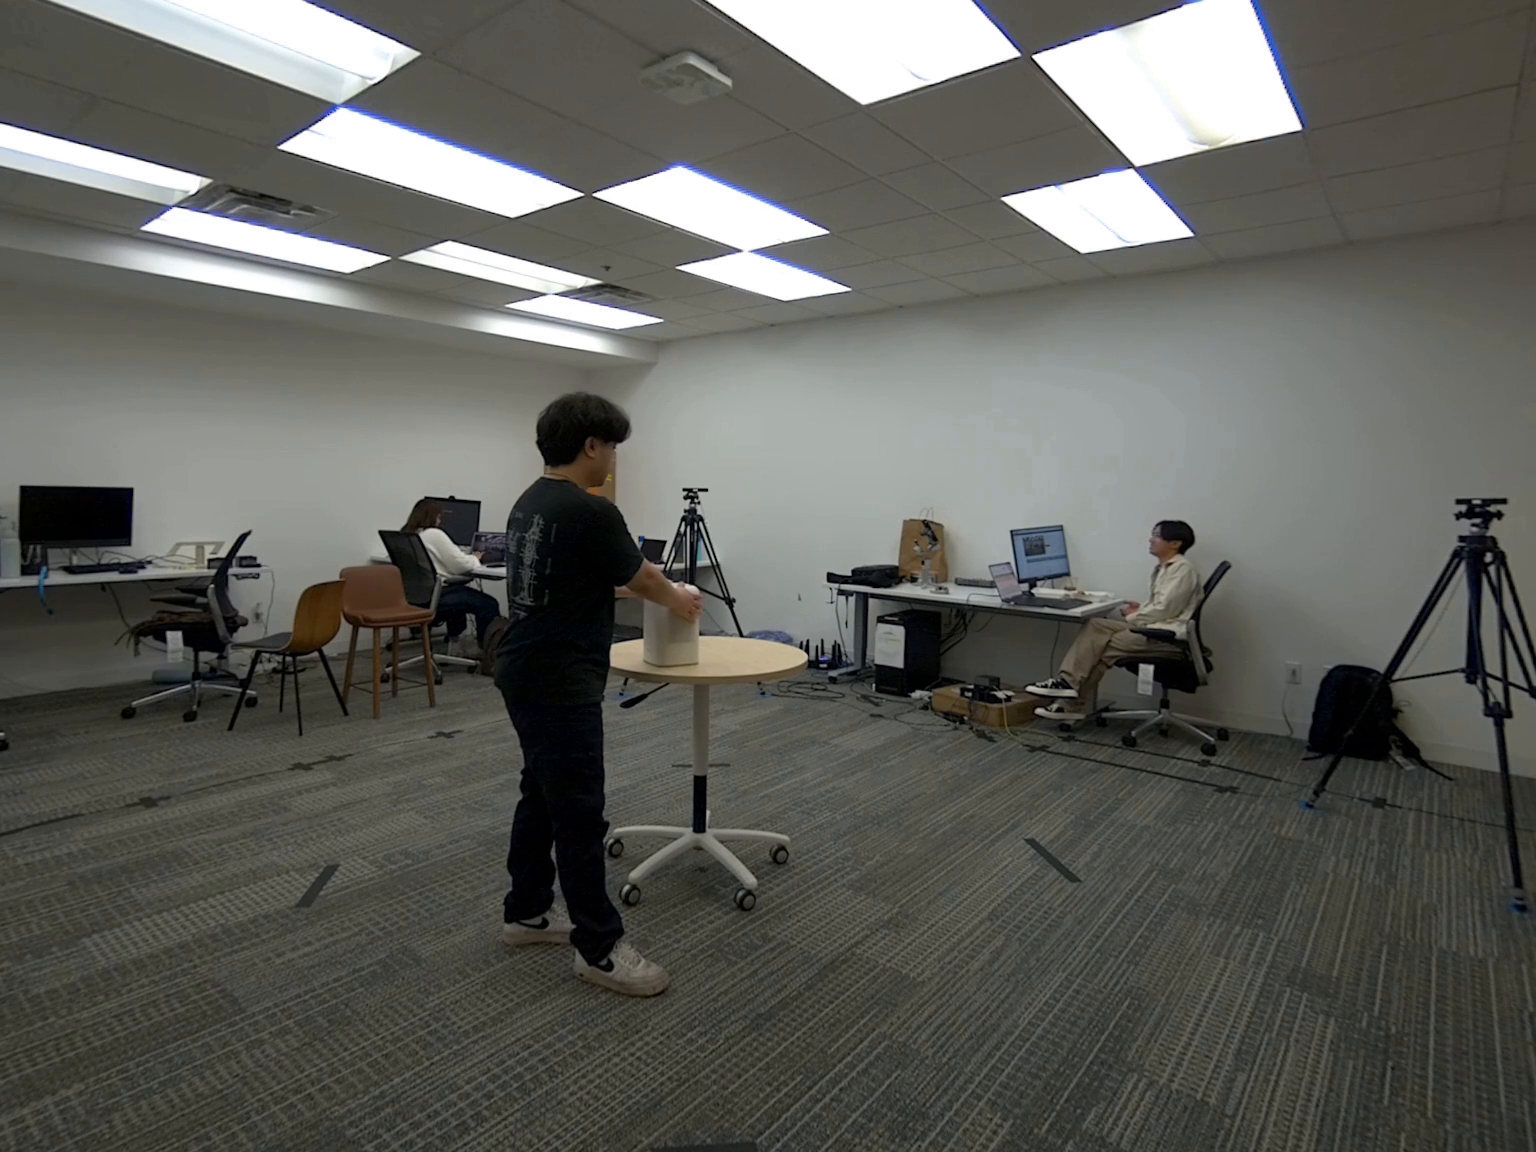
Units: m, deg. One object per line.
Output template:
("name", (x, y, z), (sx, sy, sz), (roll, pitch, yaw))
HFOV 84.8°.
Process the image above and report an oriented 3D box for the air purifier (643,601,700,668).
("air purifier", (-0.338, 0.161, 2.923), (0.168, 0.264, 0.176), (-3, 5, -25))
